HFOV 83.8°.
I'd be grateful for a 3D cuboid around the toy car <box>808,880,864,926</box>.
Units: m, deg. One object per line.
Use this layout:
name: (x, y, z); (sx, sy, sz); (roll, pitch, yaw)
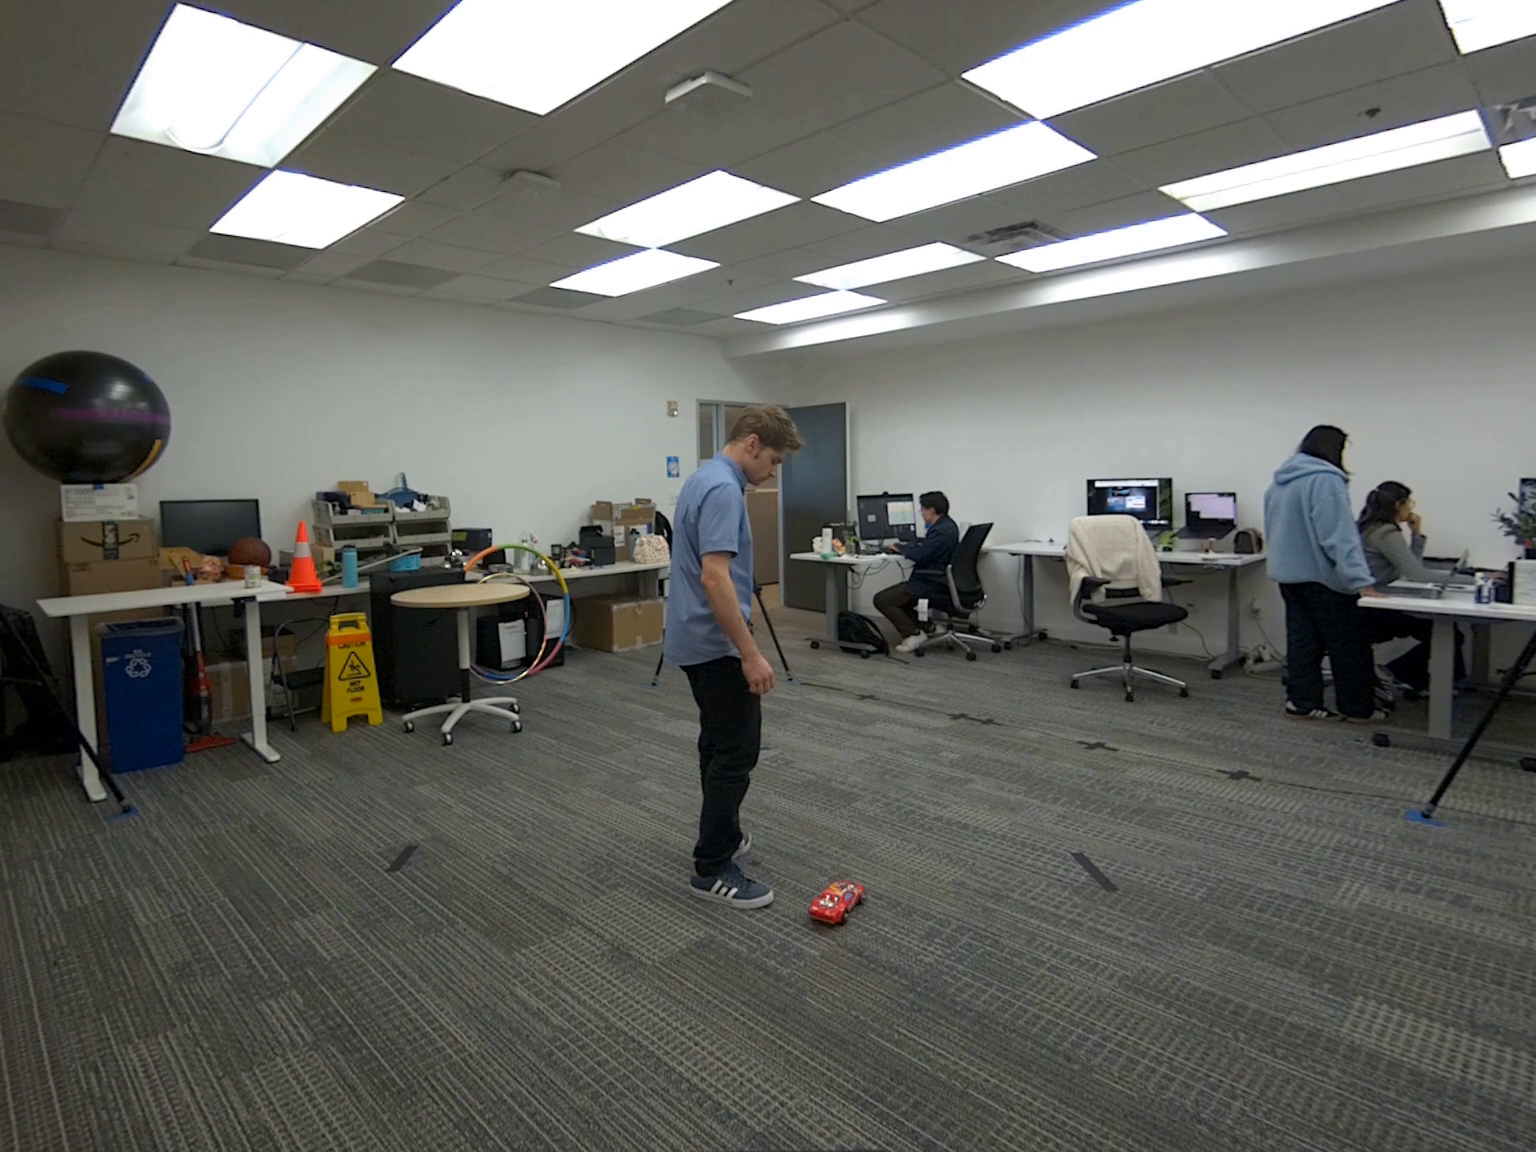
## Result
toy car: (0.222, 1.050, 2.738); (0.134, 0.083, 0.247); (3, -4, 32)
